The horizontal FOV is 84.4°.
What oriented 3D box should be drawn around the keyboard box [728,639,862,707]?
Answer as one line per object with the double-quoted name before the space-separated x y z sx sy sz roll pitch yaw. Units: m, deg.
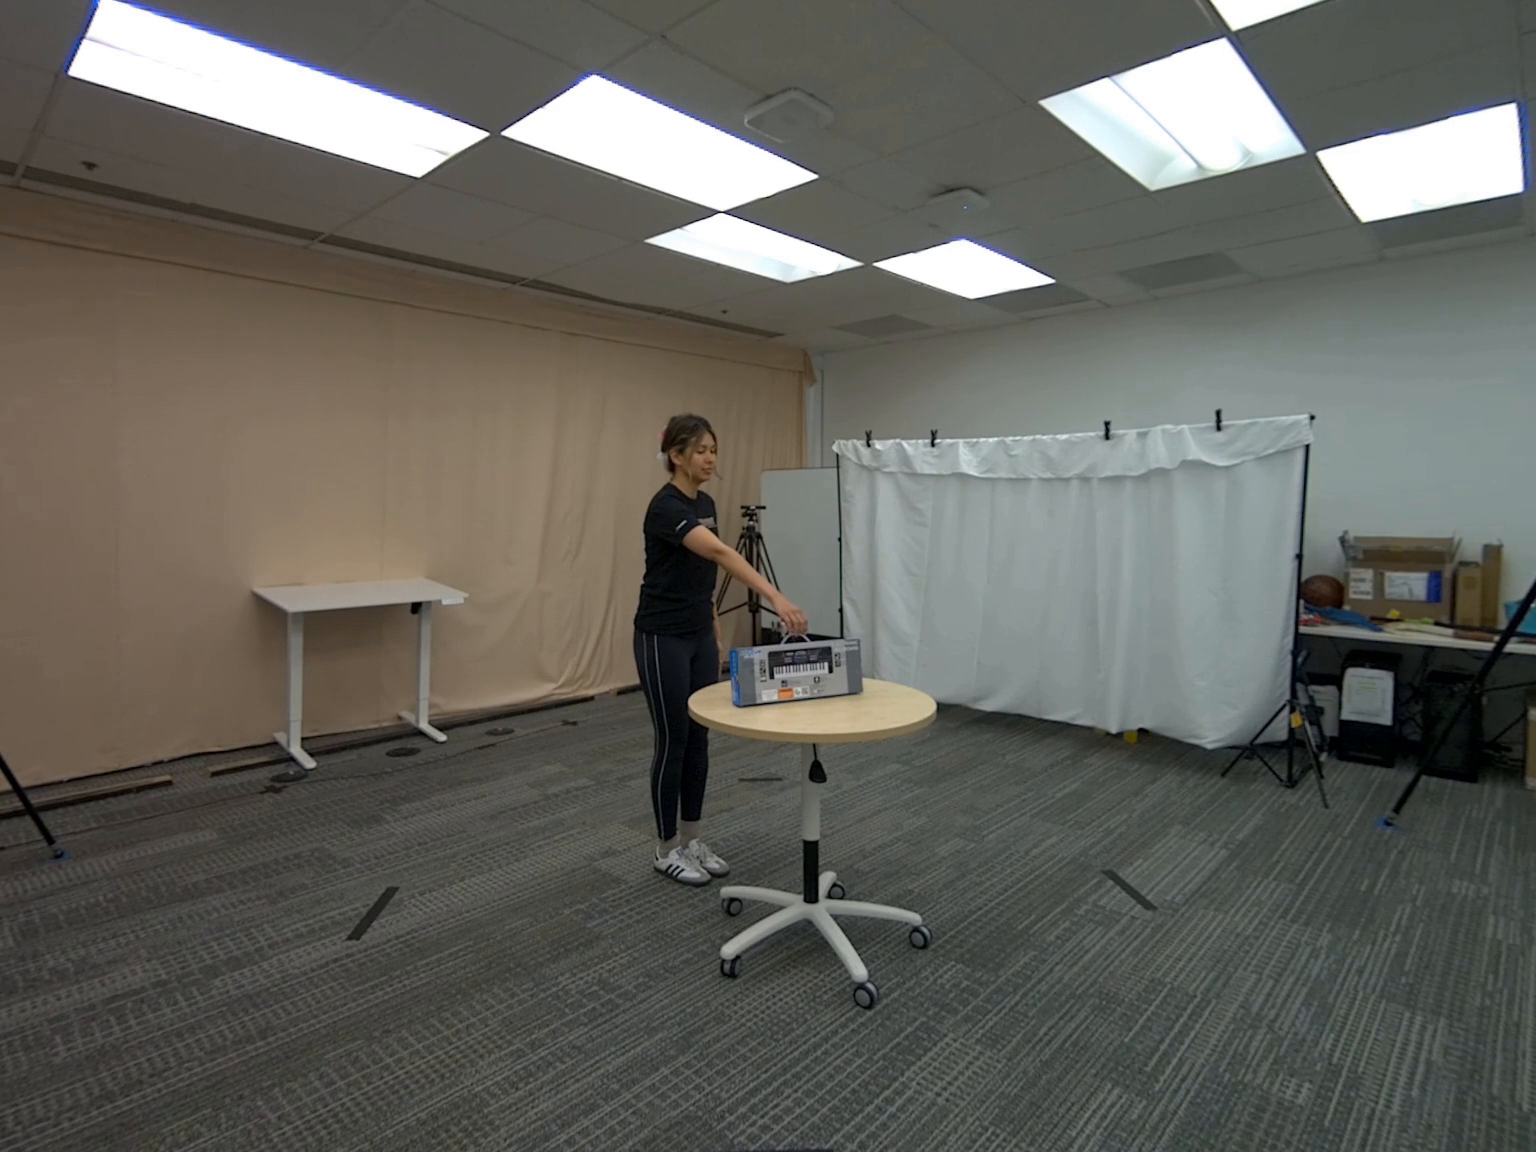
"keyboard box" 0.100 0.302 2.647 0.427 0.176 0.060 -3 -4 -22
